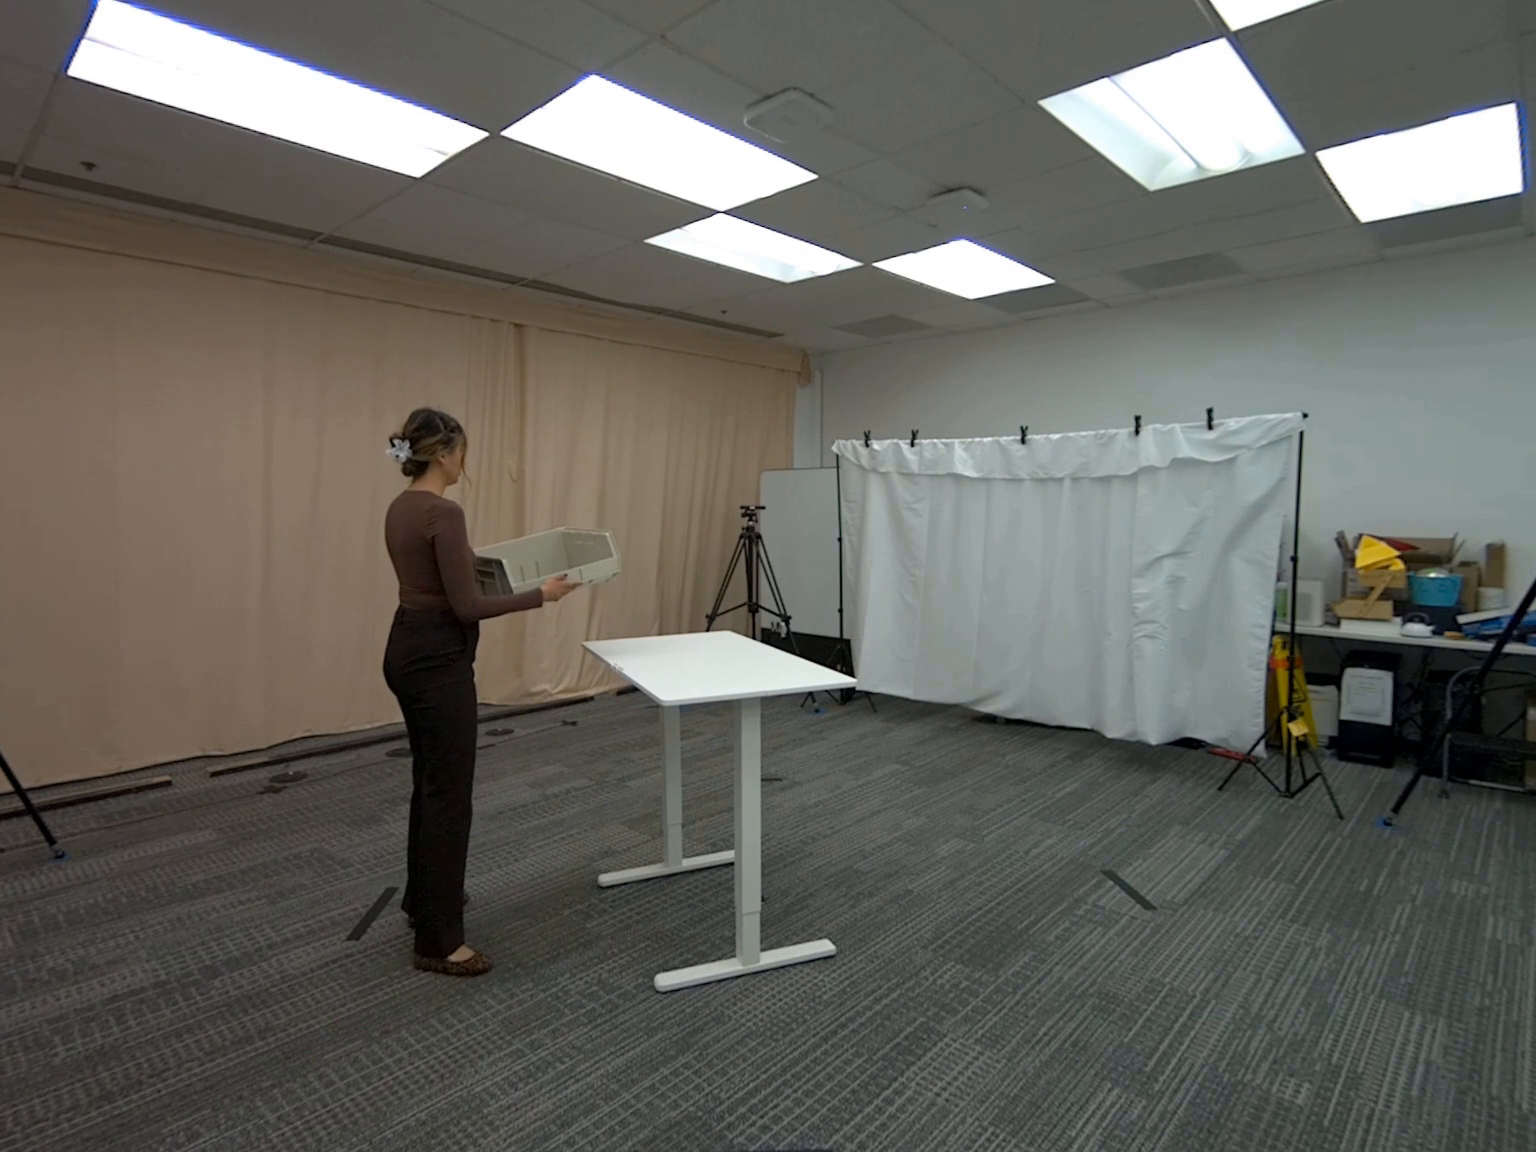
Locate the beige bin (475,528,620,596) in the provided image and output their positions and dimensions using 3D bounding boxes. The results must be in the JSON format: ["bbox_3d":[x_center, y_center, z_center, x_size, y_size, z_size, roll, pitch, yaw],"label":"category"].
[{"bbox_3d":[-0.794,-0.031,2.969,0.412,0.187,0.390,-19,15,-38],"label":"beige bin"}]
